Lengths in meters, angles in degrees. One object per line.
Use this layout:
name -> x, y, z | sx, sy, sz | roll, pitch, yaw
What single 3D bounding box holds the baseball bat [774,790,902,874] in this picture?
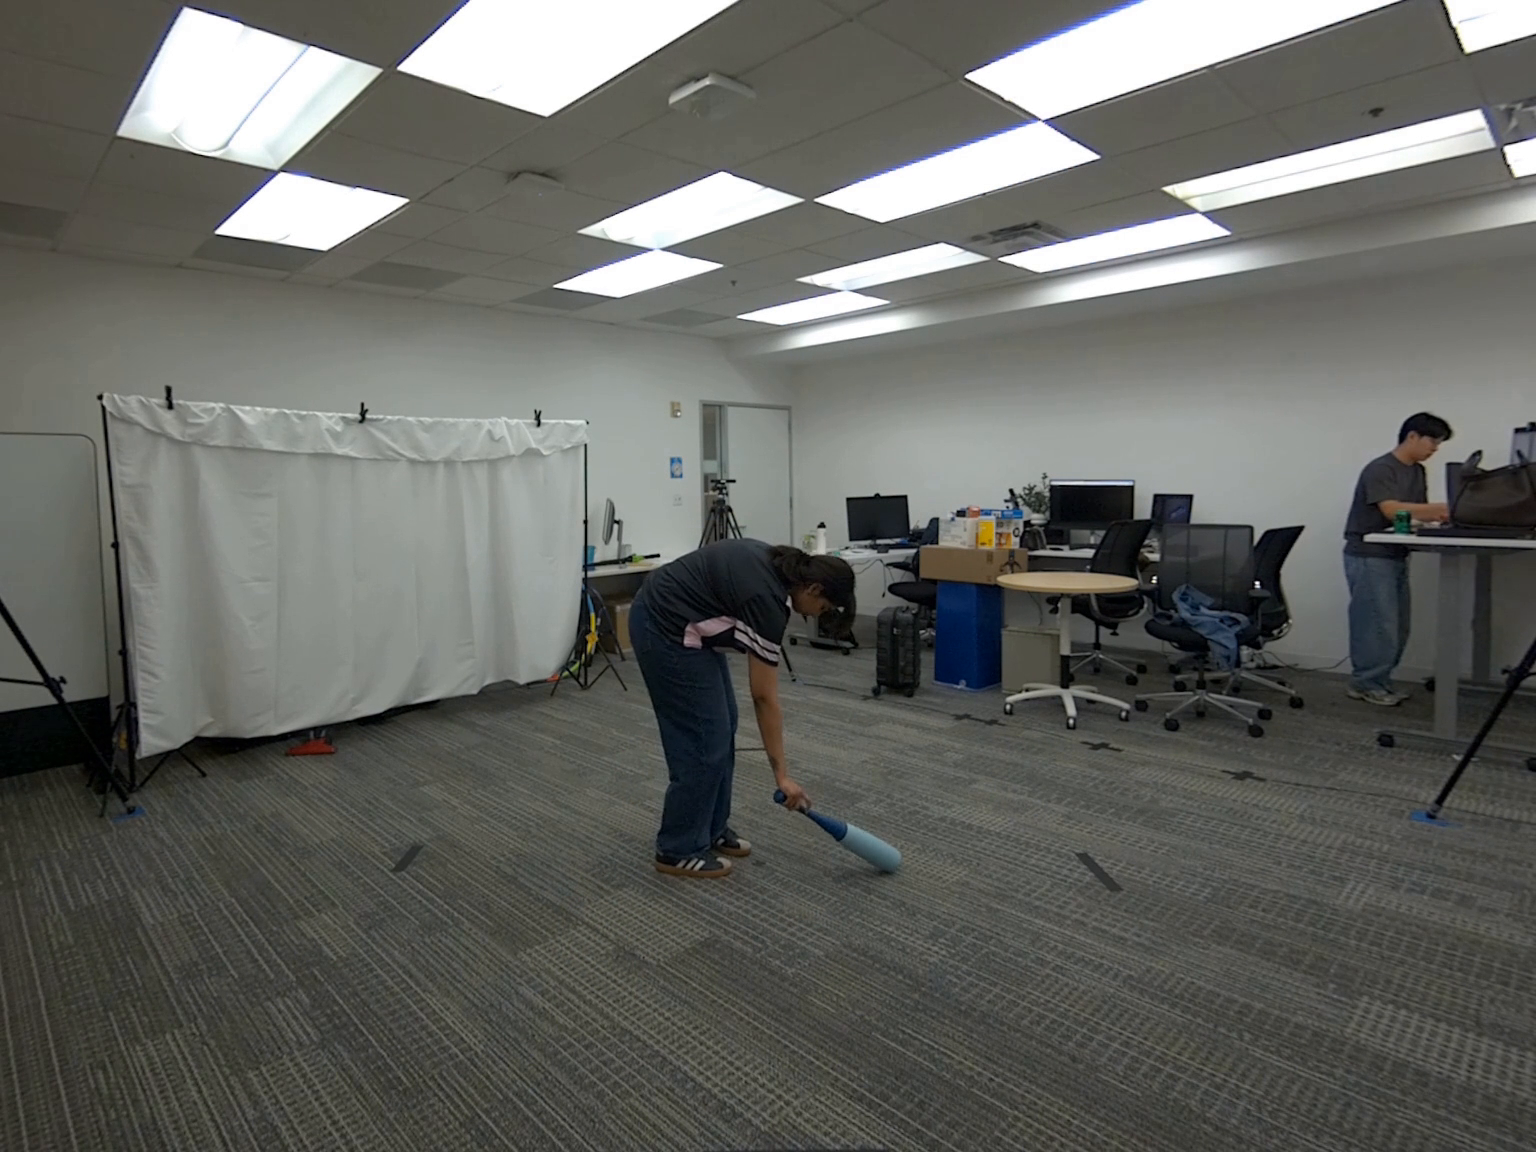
baseball bat -> 0.232, 0.873, 2.965 | 0.532, 0.089, 0.090 | 33, -6, -15
